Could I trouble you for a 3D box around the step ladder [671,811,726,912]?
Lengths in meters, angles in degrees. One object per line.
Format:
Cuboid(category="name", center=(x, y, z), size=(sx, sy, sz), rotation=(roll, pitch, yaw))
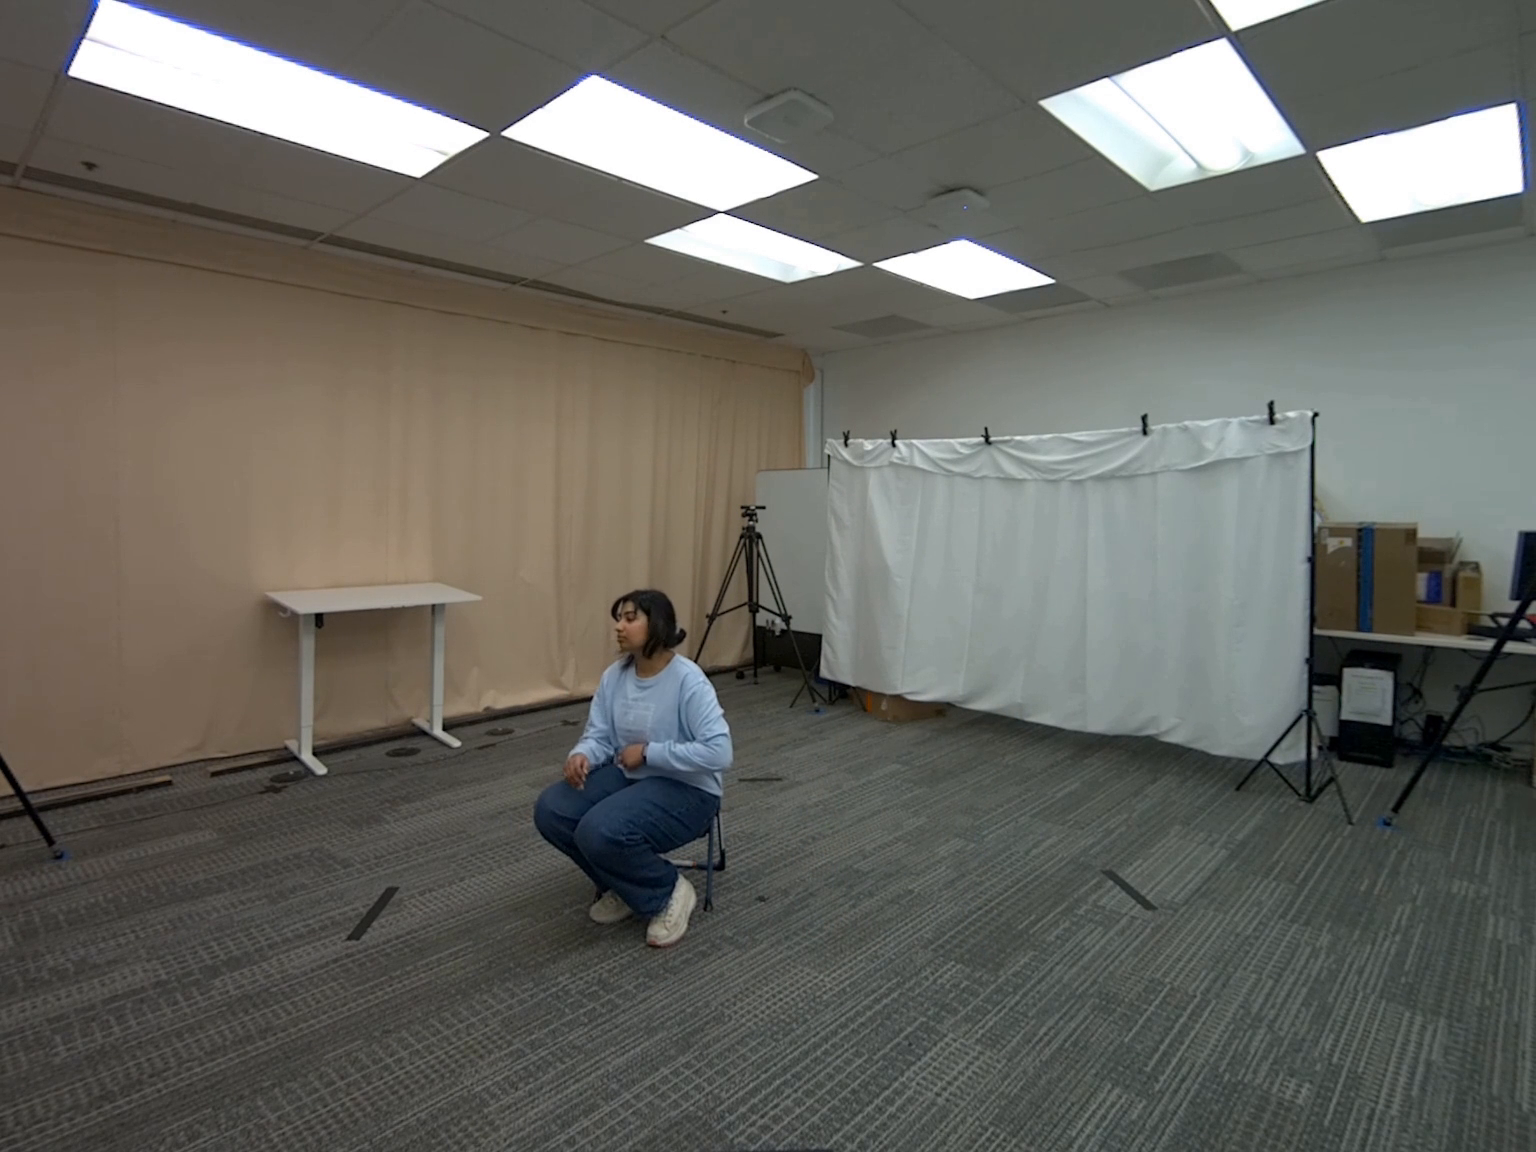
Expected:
Cuboid(category="step ladder", center=(-0.385, 0.843, 3.093), size=(0.434, 0.604, 0.347), rotation=(2, 4, 7))
